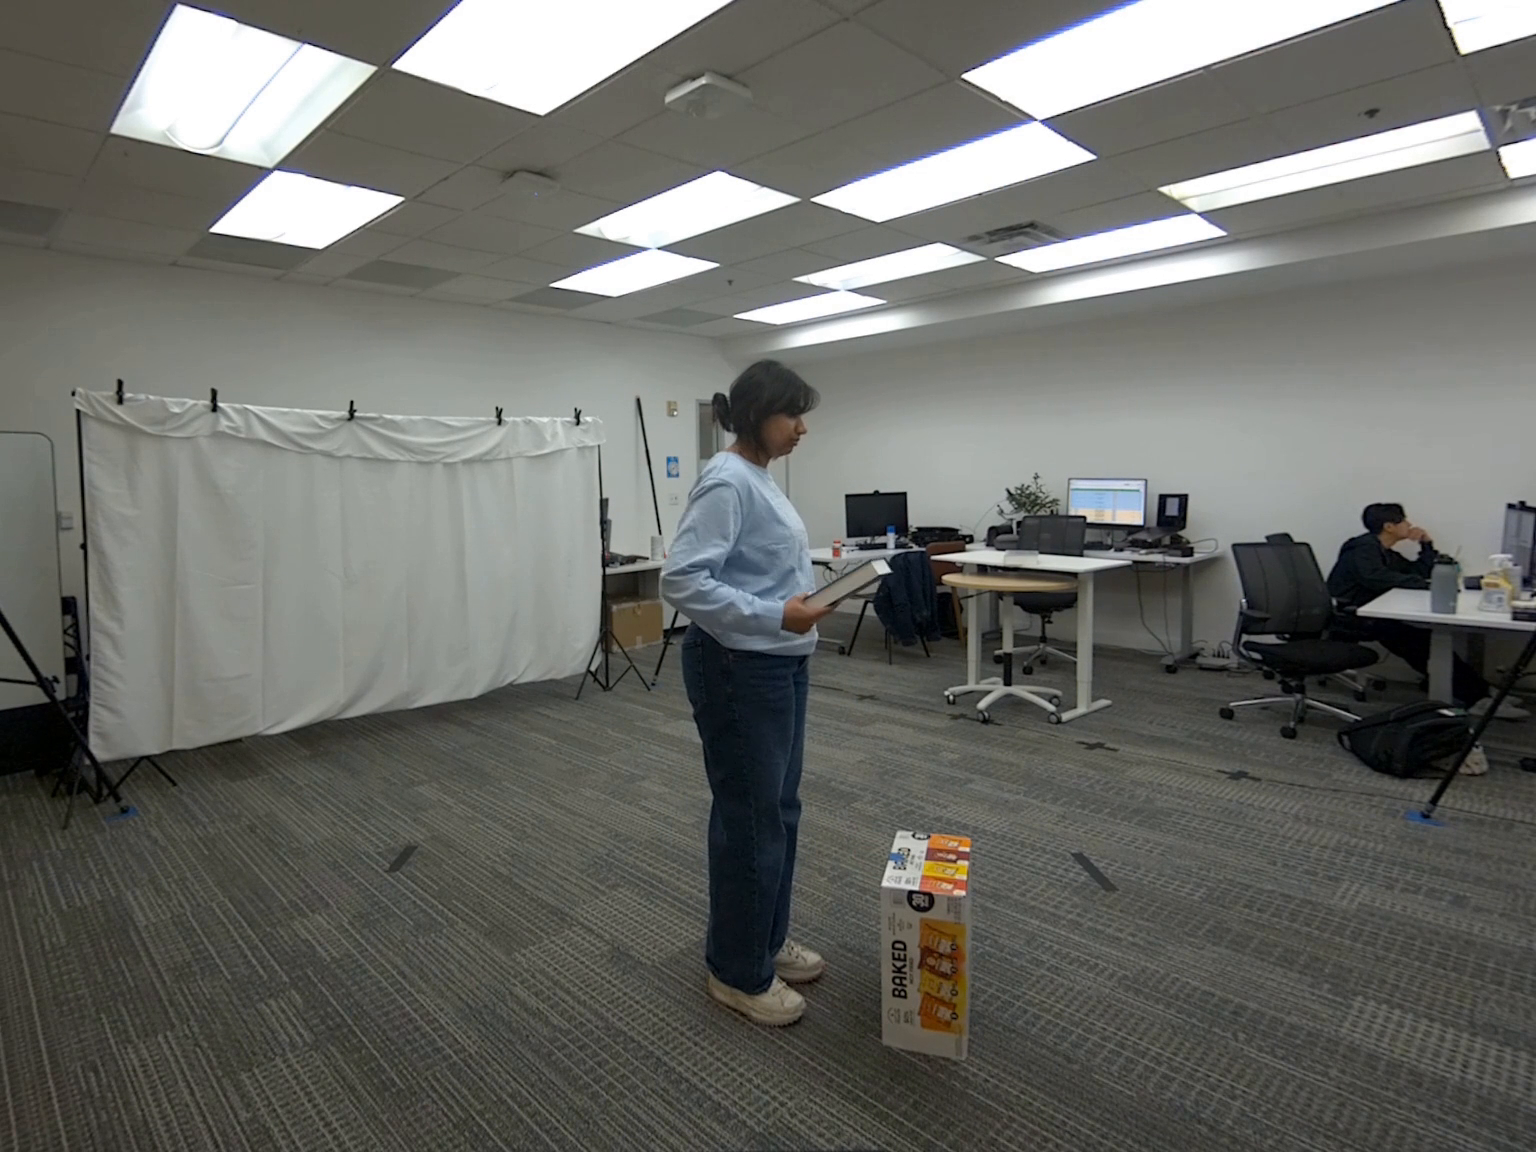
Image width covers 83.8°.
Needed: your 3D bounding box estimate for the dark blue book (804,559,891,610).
[{"bbox_3d":[0.173,0.036,2.067,0.247,0.046,0.160,-29,-8,18],"label":"dark blue book"}]
